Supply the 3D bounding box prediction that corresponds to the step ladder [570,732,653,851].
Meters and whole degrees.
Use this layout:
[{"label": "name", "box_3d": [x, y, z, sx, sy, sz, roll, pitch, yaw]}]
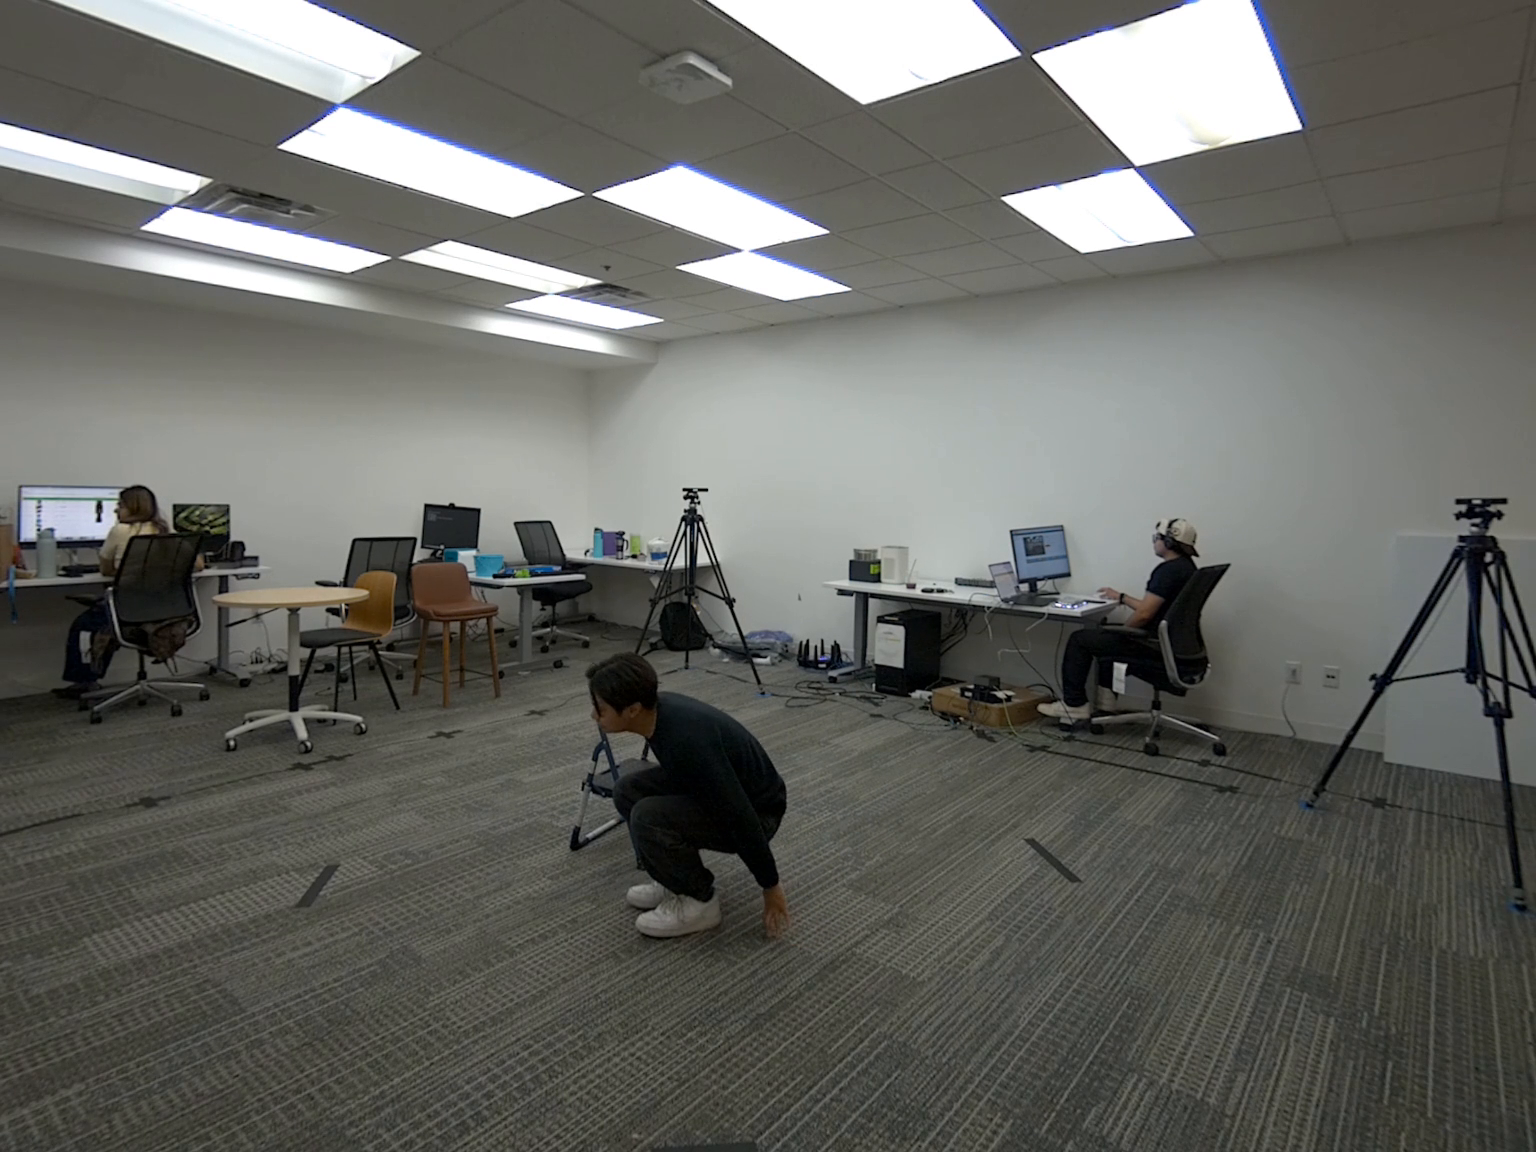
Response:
[{"label": "step ladder", "box_3d": [-0.526, 0.738, 3.344, 0.358, 0.605, 0.421, 2, 3, 25]}]
